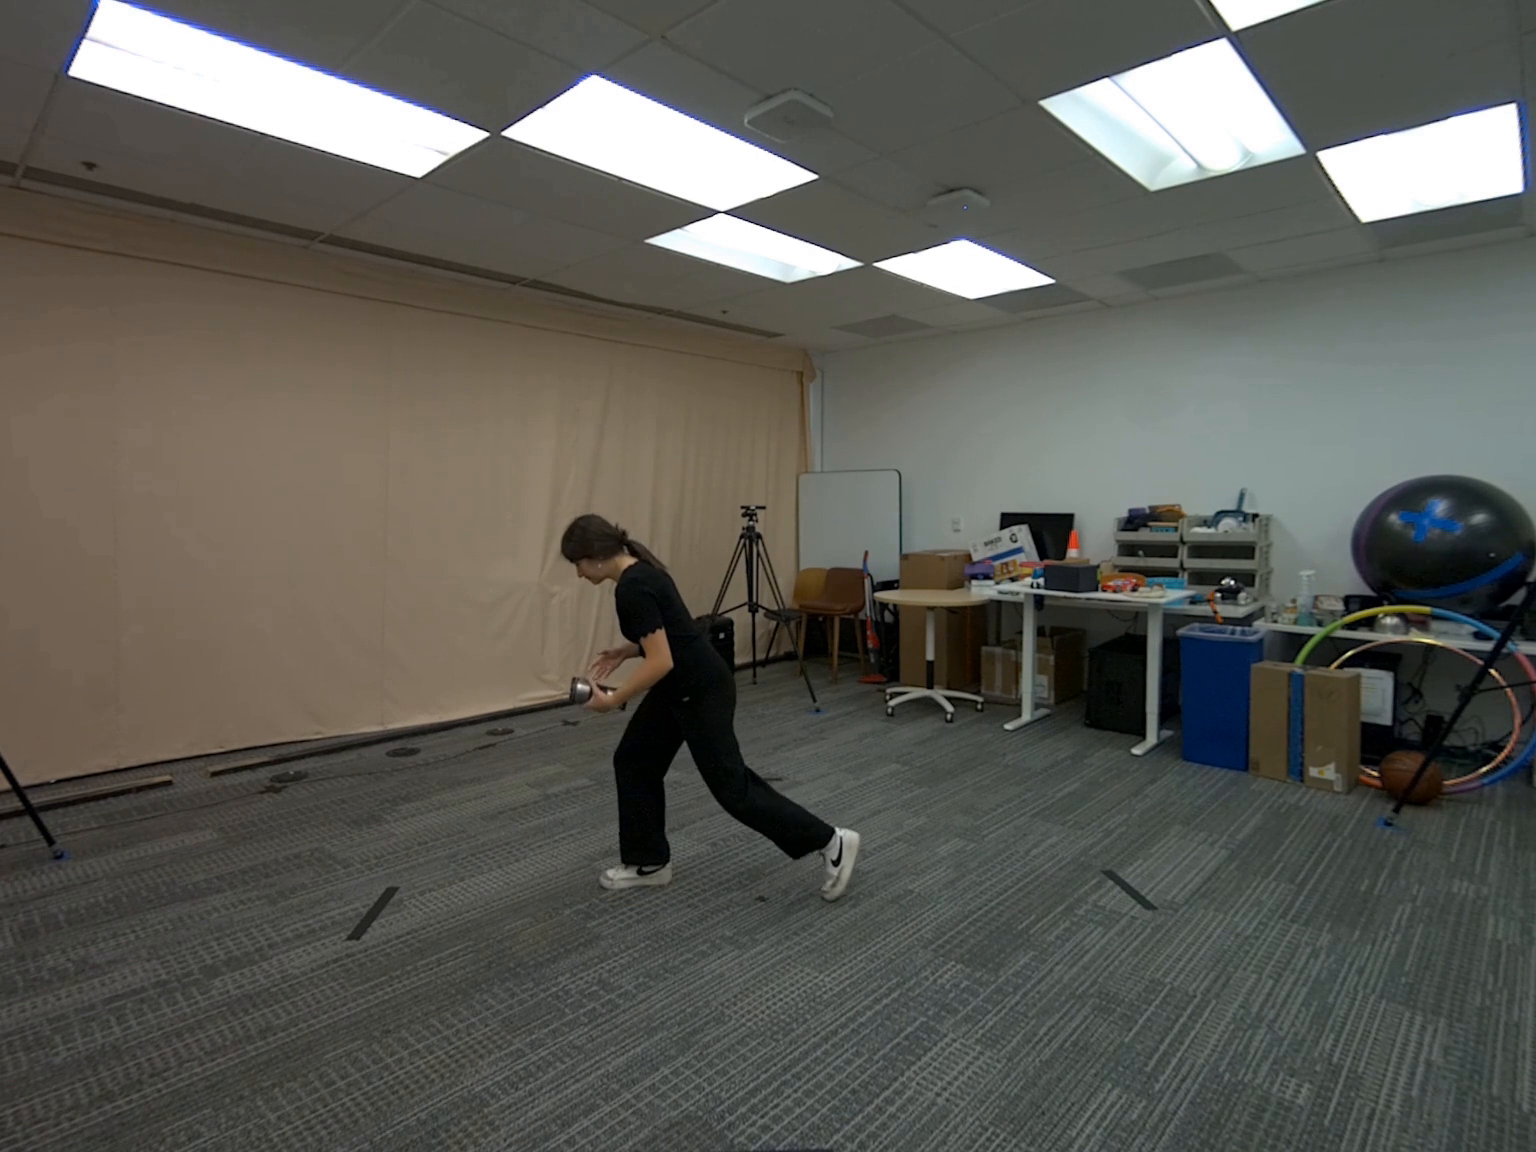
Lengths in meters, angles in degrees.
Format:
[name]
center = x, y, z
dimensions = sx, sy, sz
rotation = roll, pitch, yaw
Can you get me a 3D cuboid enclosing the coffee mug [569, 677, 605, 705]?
[coffee mug]
center = -0.586, 0.430, 2.945
dimensions = 0.202, 0.089, 0.121
rotation = 11, -31, -3
